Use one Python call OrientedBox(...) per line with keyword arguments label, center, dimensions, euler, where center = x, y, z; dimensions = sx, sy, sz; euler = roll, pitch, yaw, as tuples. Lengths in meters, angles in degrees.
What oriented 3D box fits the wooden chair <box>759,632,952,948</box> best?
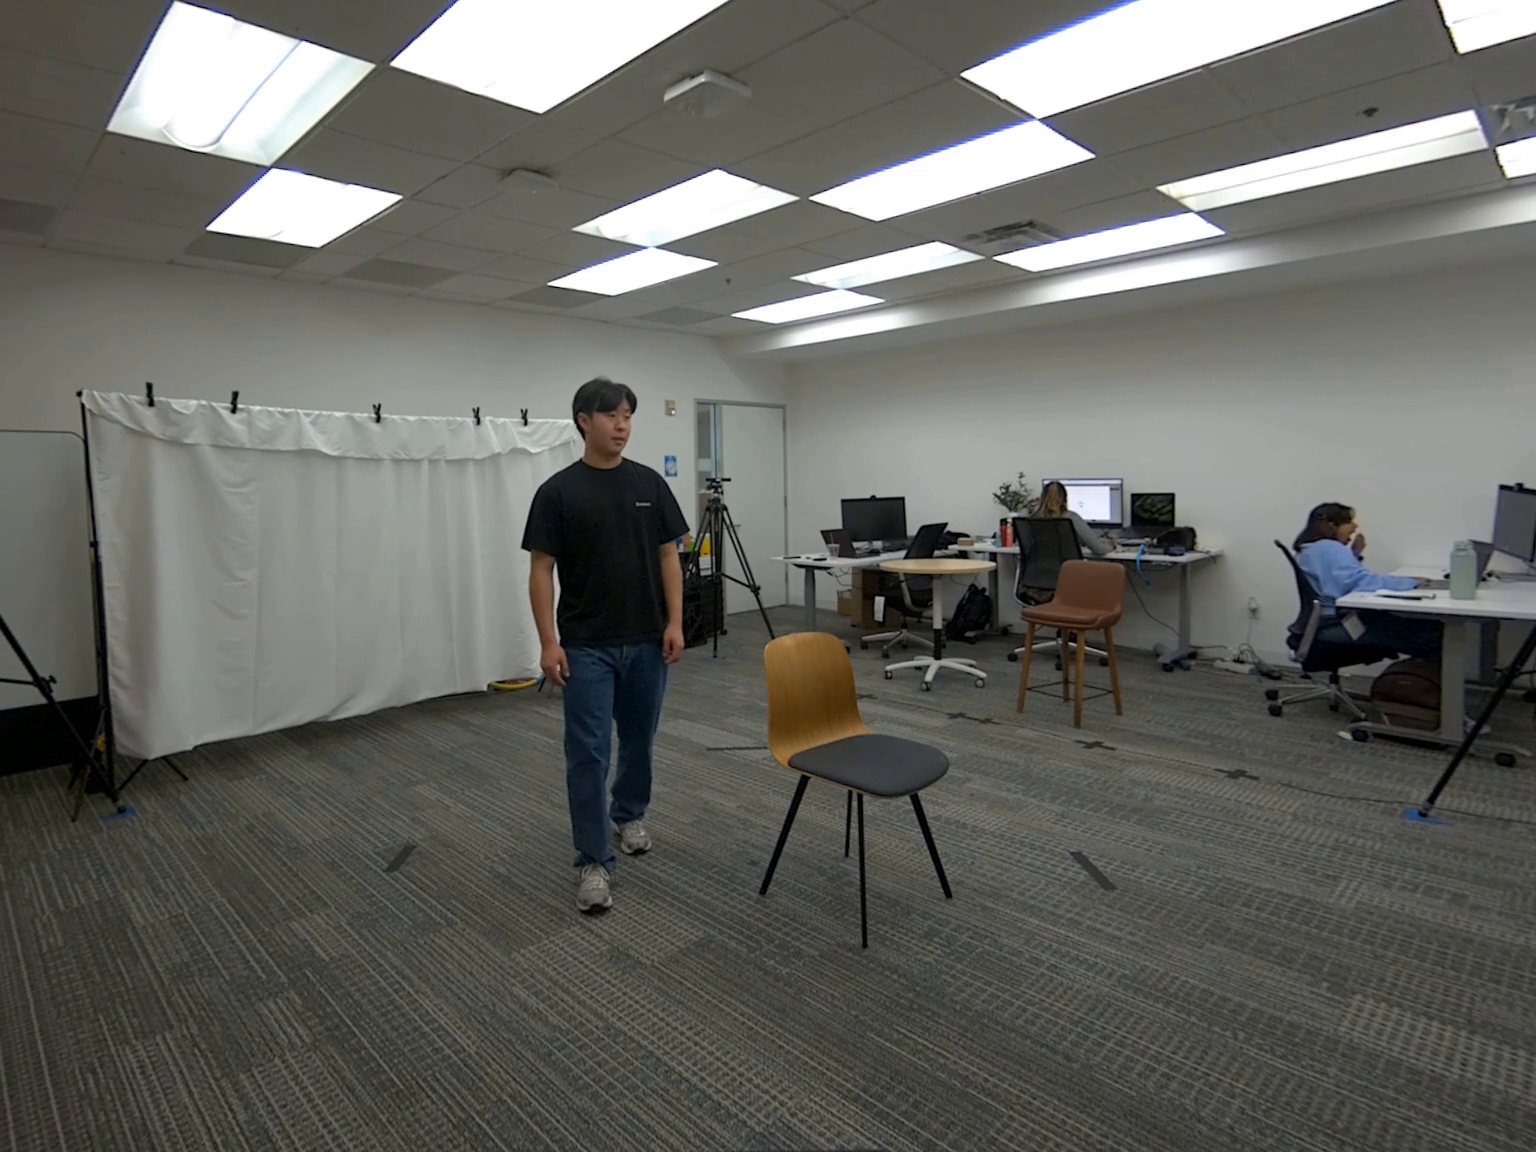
OrientedBox(label="wooden chair", center=(0.290, 0.639, 2.809), dimensions=(0.465, 0.877, 0.537), euler=(-4, 1, -43))
